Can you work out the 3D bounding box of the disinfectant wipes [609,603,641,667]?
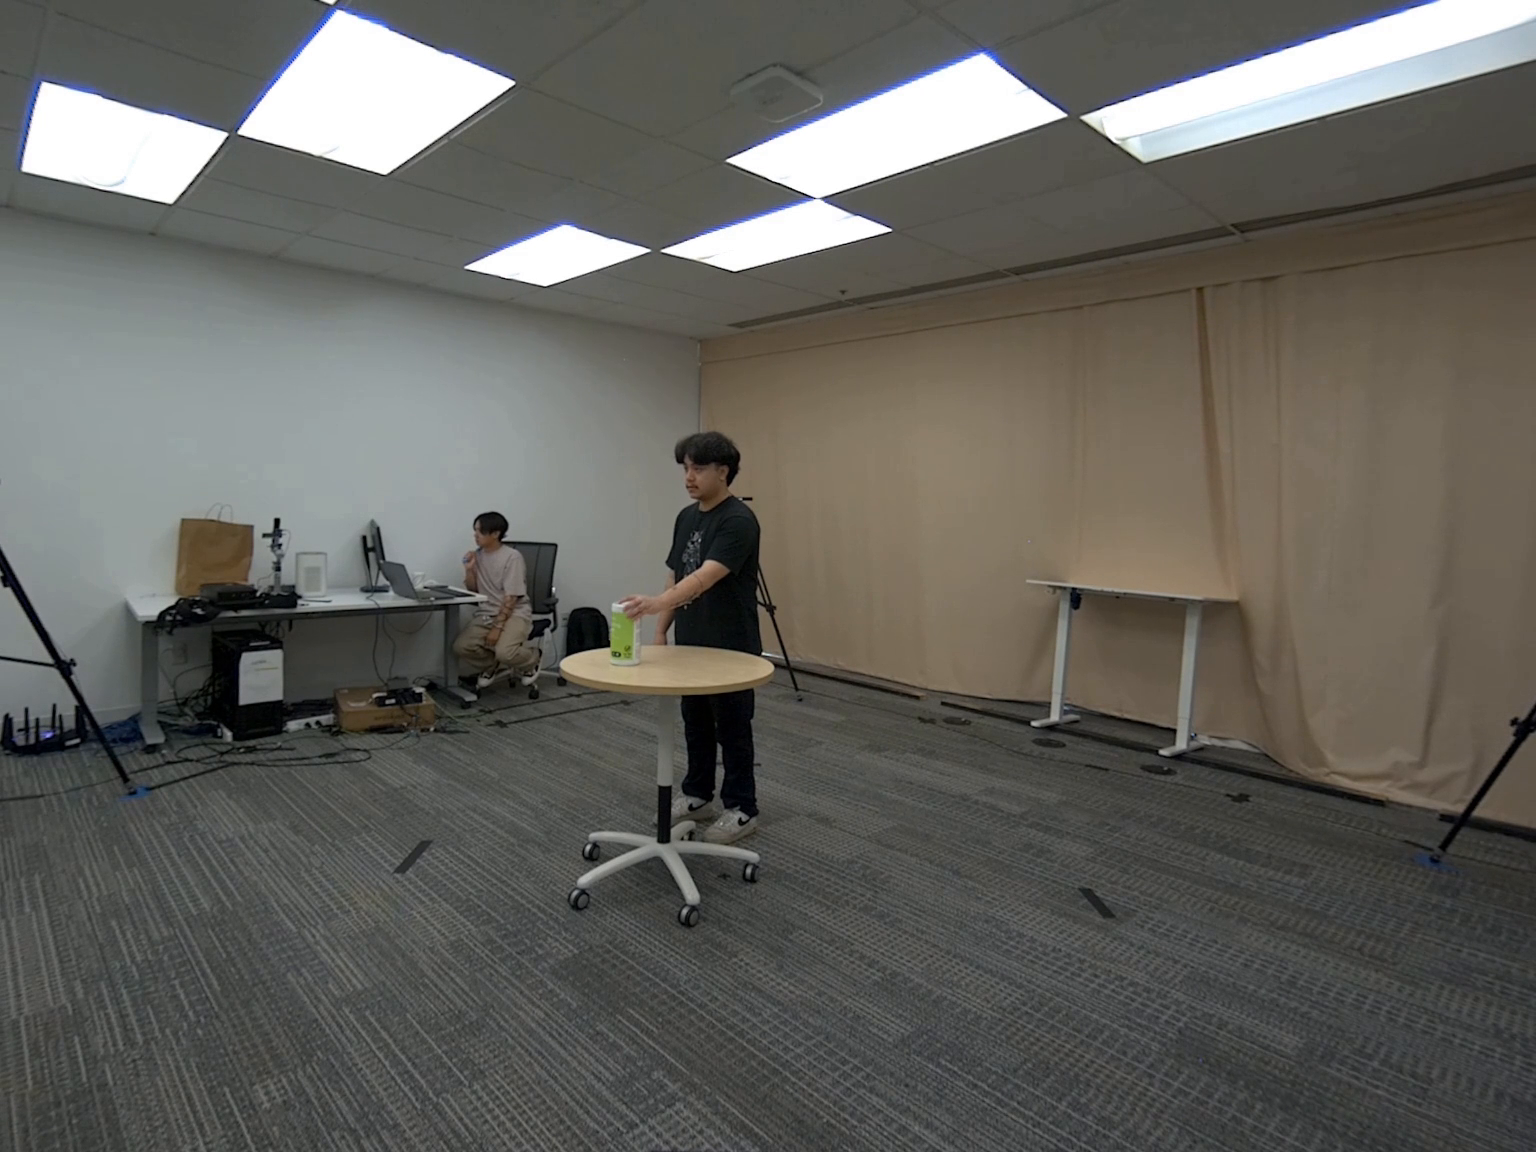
[{"bbox_3d":[-0.513,0.206,3.006,0.118,0.217,0.118,2,3,-2],"label":"disinfectant wipes"}]
